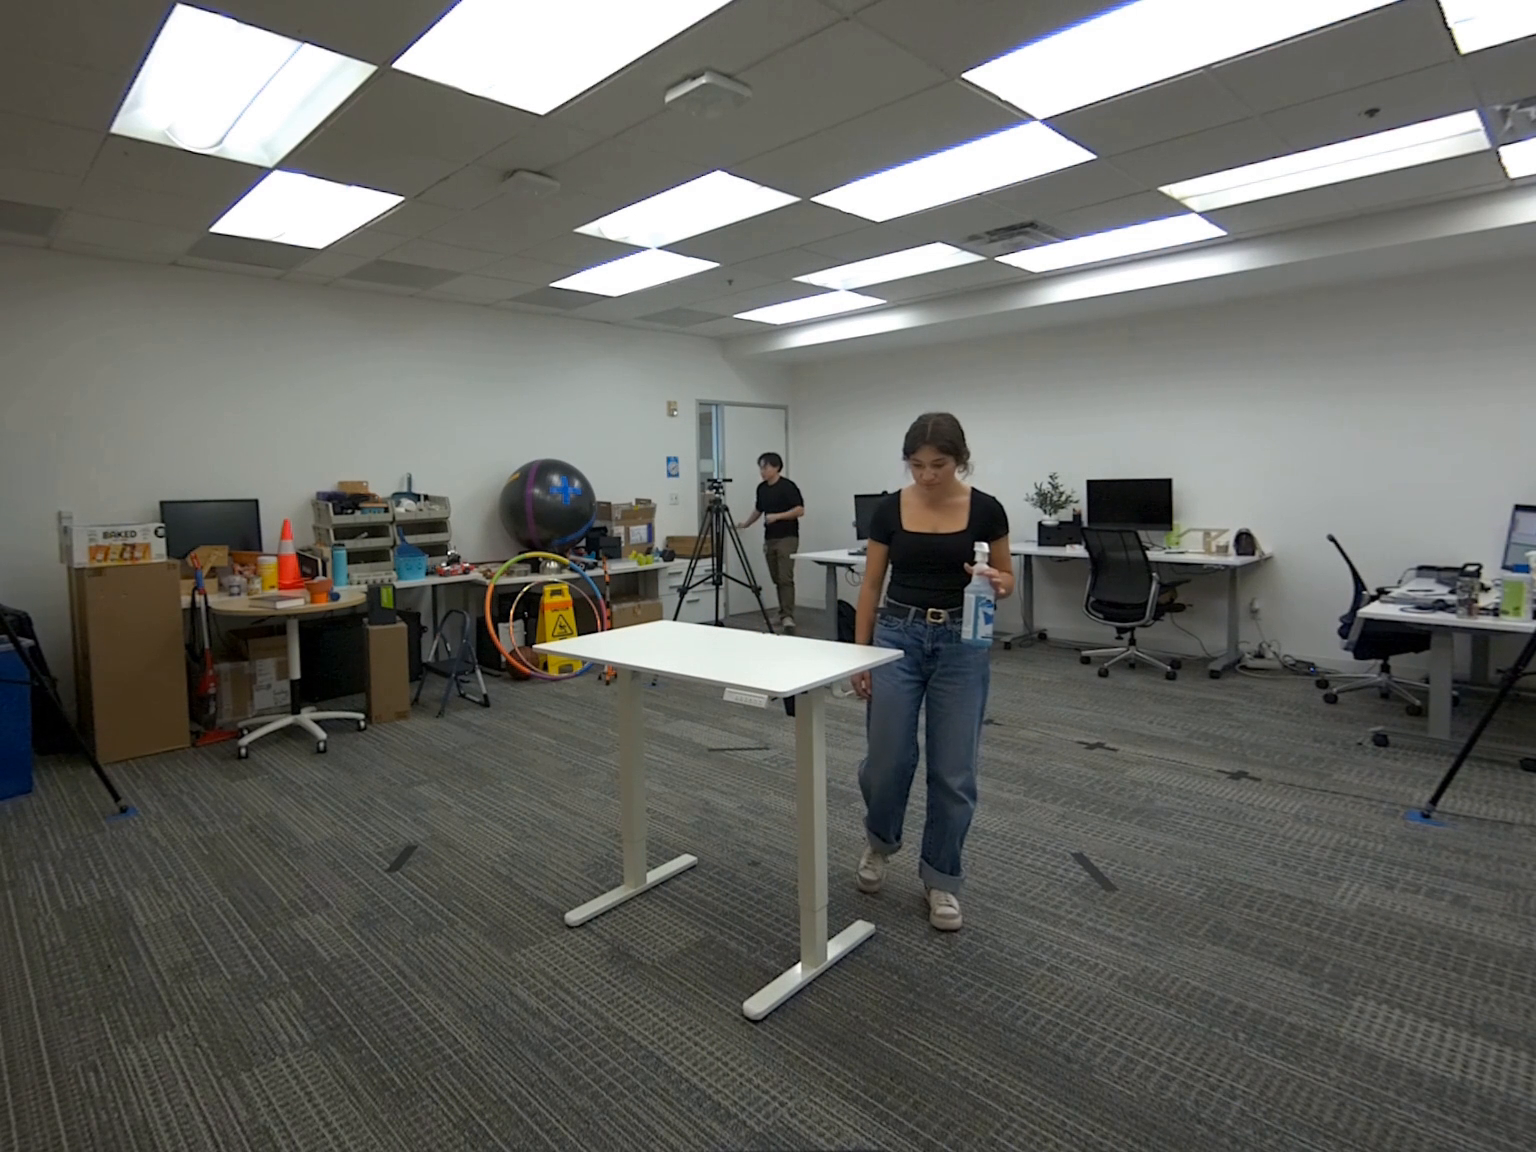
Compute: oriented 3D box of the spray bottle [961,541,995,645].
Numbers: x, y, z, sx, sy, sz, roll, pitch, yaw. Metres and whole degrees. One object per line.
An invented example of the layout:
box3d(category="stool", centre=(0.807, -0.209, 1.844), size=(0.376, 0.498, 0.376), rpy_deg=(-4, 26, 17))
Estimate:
box3d(category="spray bottle", centre=(0.616, 0.052, 2.478), size=(0.089, 0.298, 0.088), rpy_deg=(4, -4, 20))
